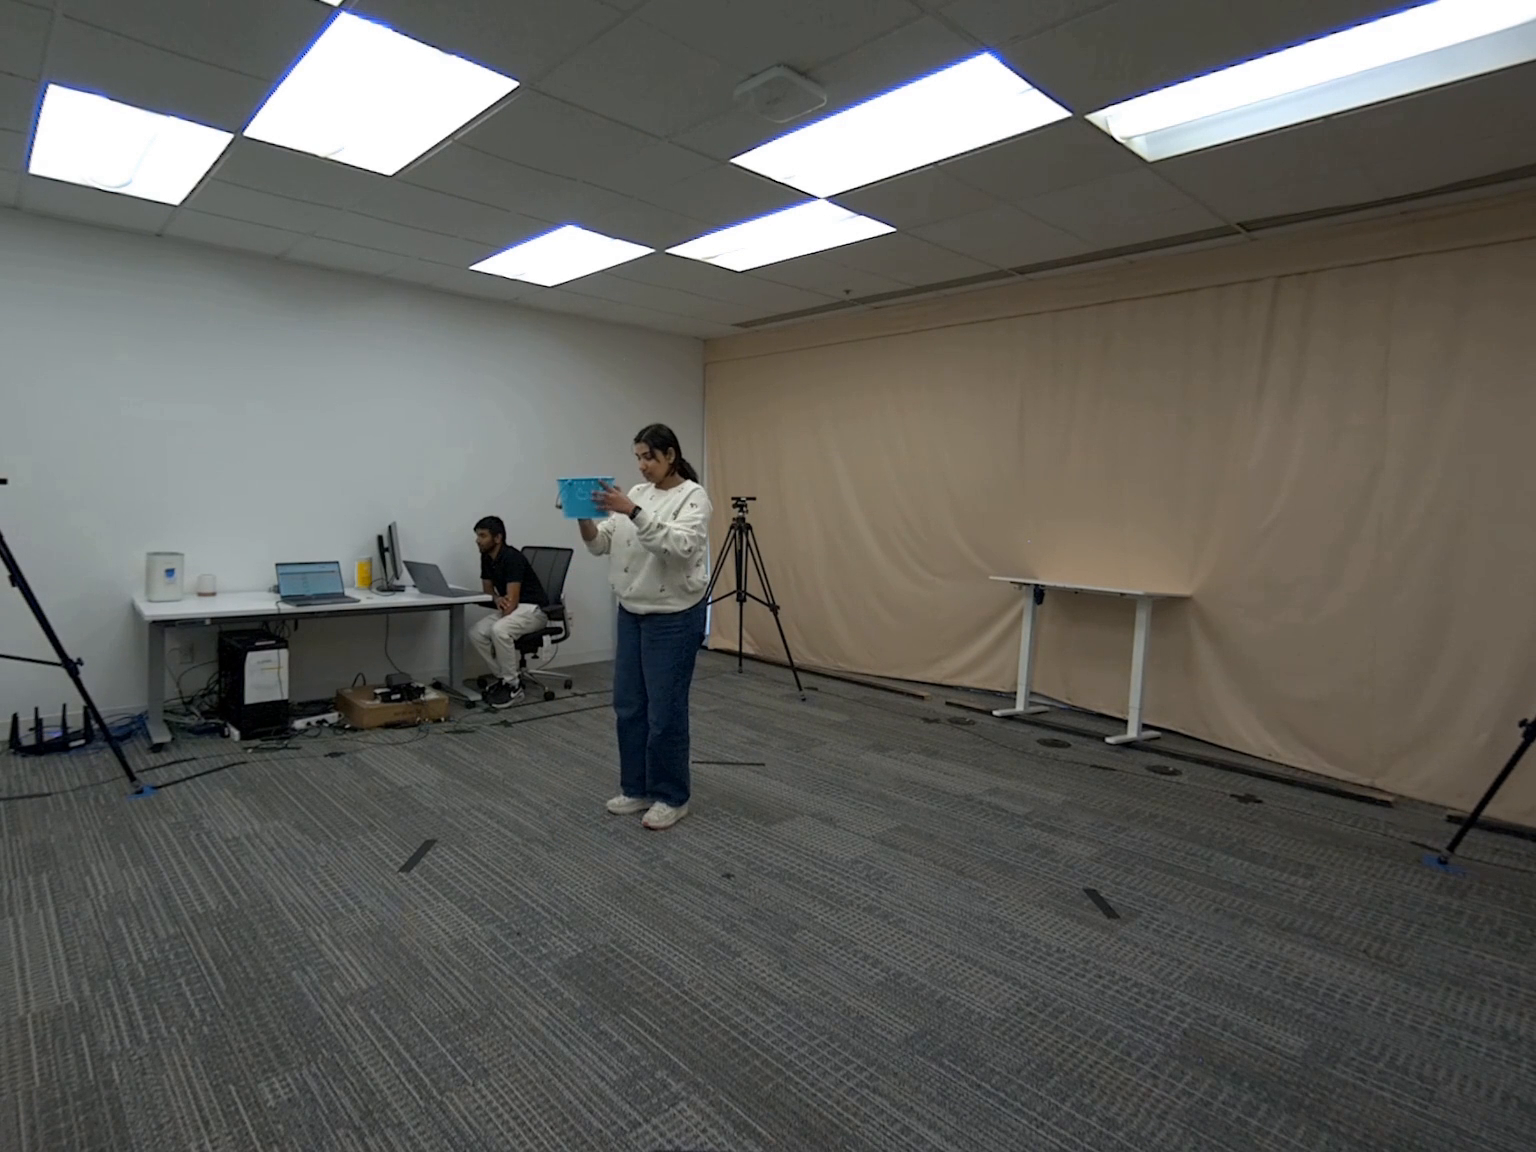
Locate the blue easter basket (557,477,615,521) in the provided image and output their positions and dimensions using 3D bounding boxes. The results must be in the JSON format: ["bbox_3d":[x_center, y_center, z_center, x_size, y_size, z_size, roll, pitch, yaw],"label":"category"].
[{"bbox_3d":[-0.730,-0.309,3.293,0.243,0.155,0.245,2,7,-2],"label":"blue easter basket"}]
